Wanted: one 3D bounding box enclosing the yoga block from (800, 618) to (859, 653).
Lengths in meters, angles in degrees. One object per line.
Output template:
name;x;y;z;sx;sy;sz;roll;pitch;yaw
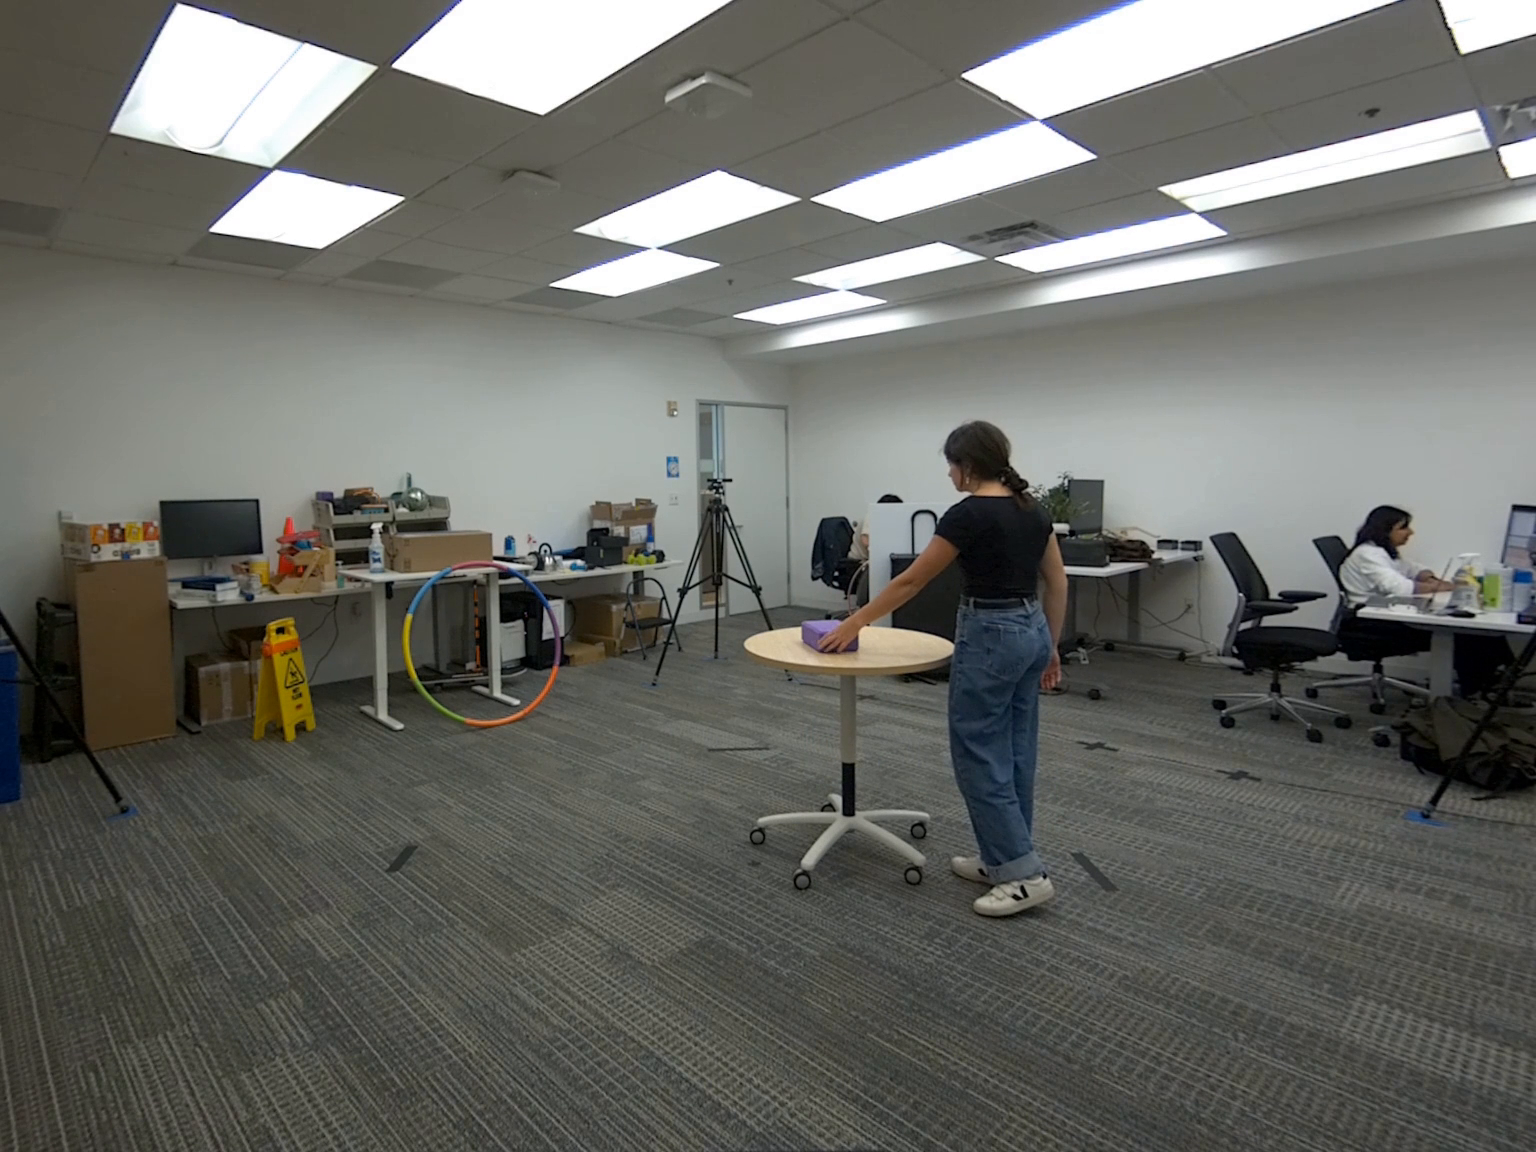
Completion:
yoga block;0.231;0.220;3.109;0.147;0.076;0.233;-2;7;-13
